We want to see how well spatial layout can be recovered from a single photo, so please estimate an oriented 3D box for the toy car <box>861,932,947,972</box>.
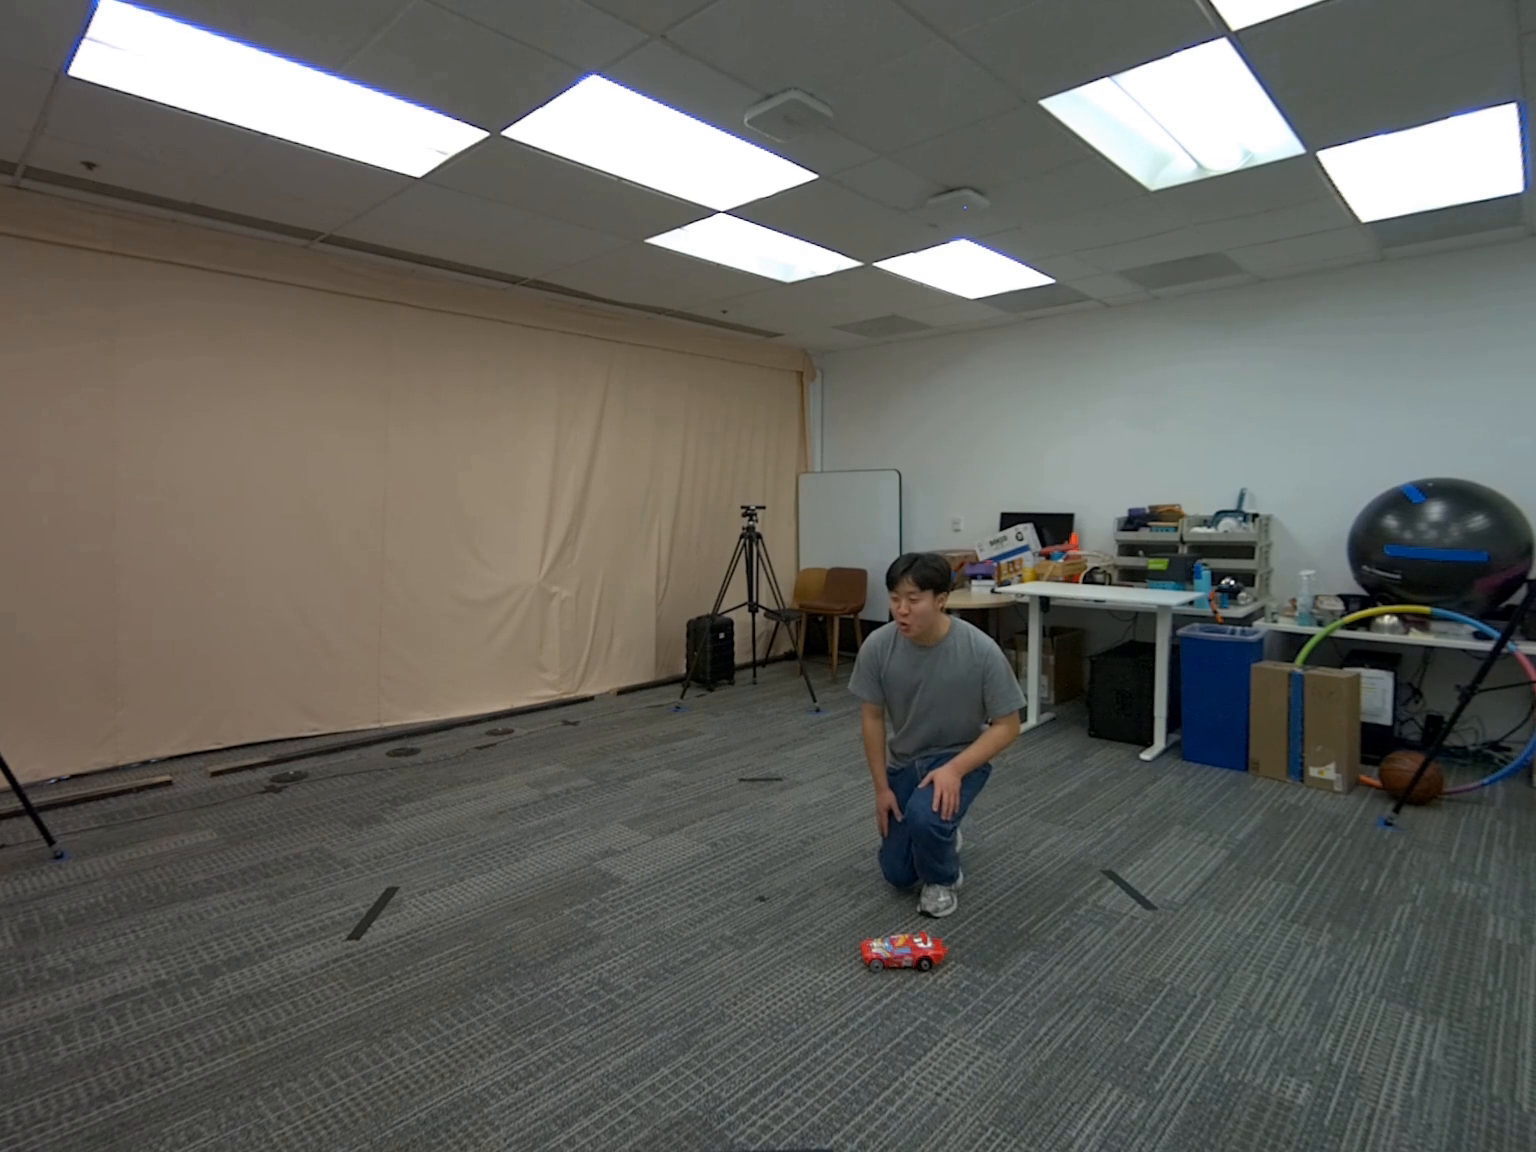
[{"bbox_3d":[0.421,1.146,2.556,0.255,0.083,0.130,-11,3,1],"label":"toy car"}]
